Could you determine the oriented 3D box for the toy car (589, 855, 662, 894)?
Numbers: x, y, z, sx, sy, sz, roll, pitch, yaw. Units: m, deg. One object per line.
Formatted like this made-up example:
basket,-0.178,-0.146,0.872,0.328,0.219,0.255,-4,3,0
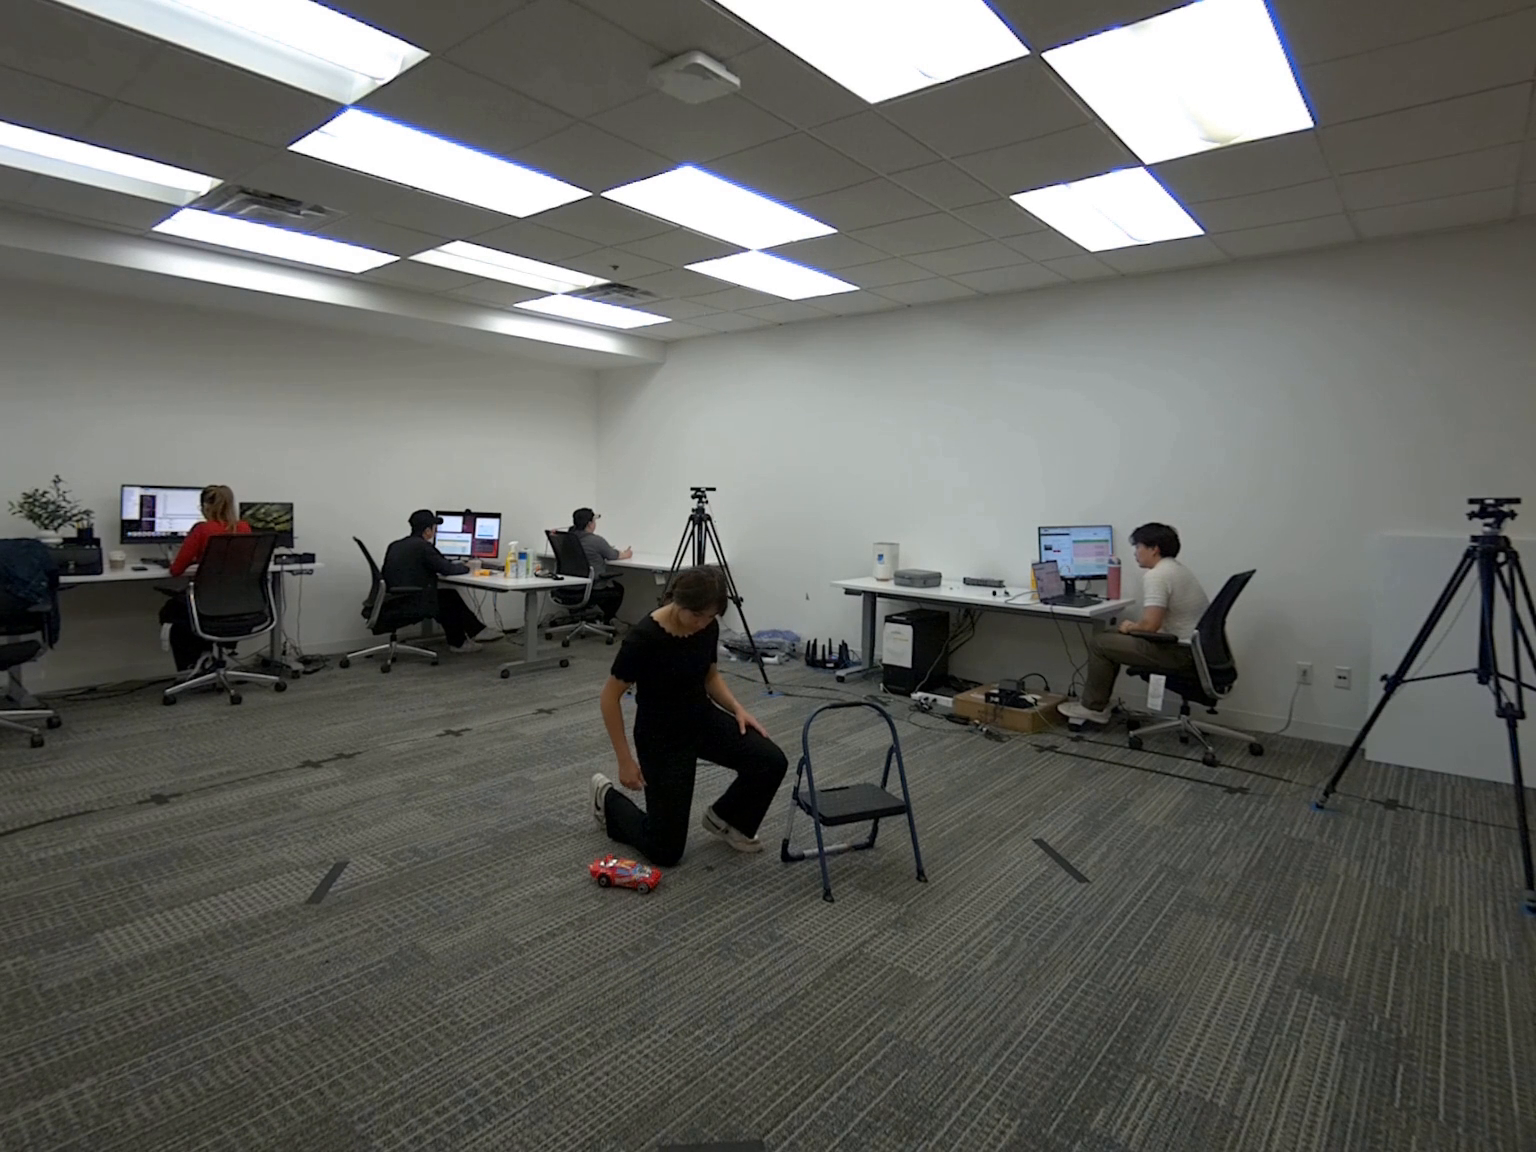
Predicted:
toy car,-0.514,1.040,2.980,0.259,0.082,0.129,12,10,13
